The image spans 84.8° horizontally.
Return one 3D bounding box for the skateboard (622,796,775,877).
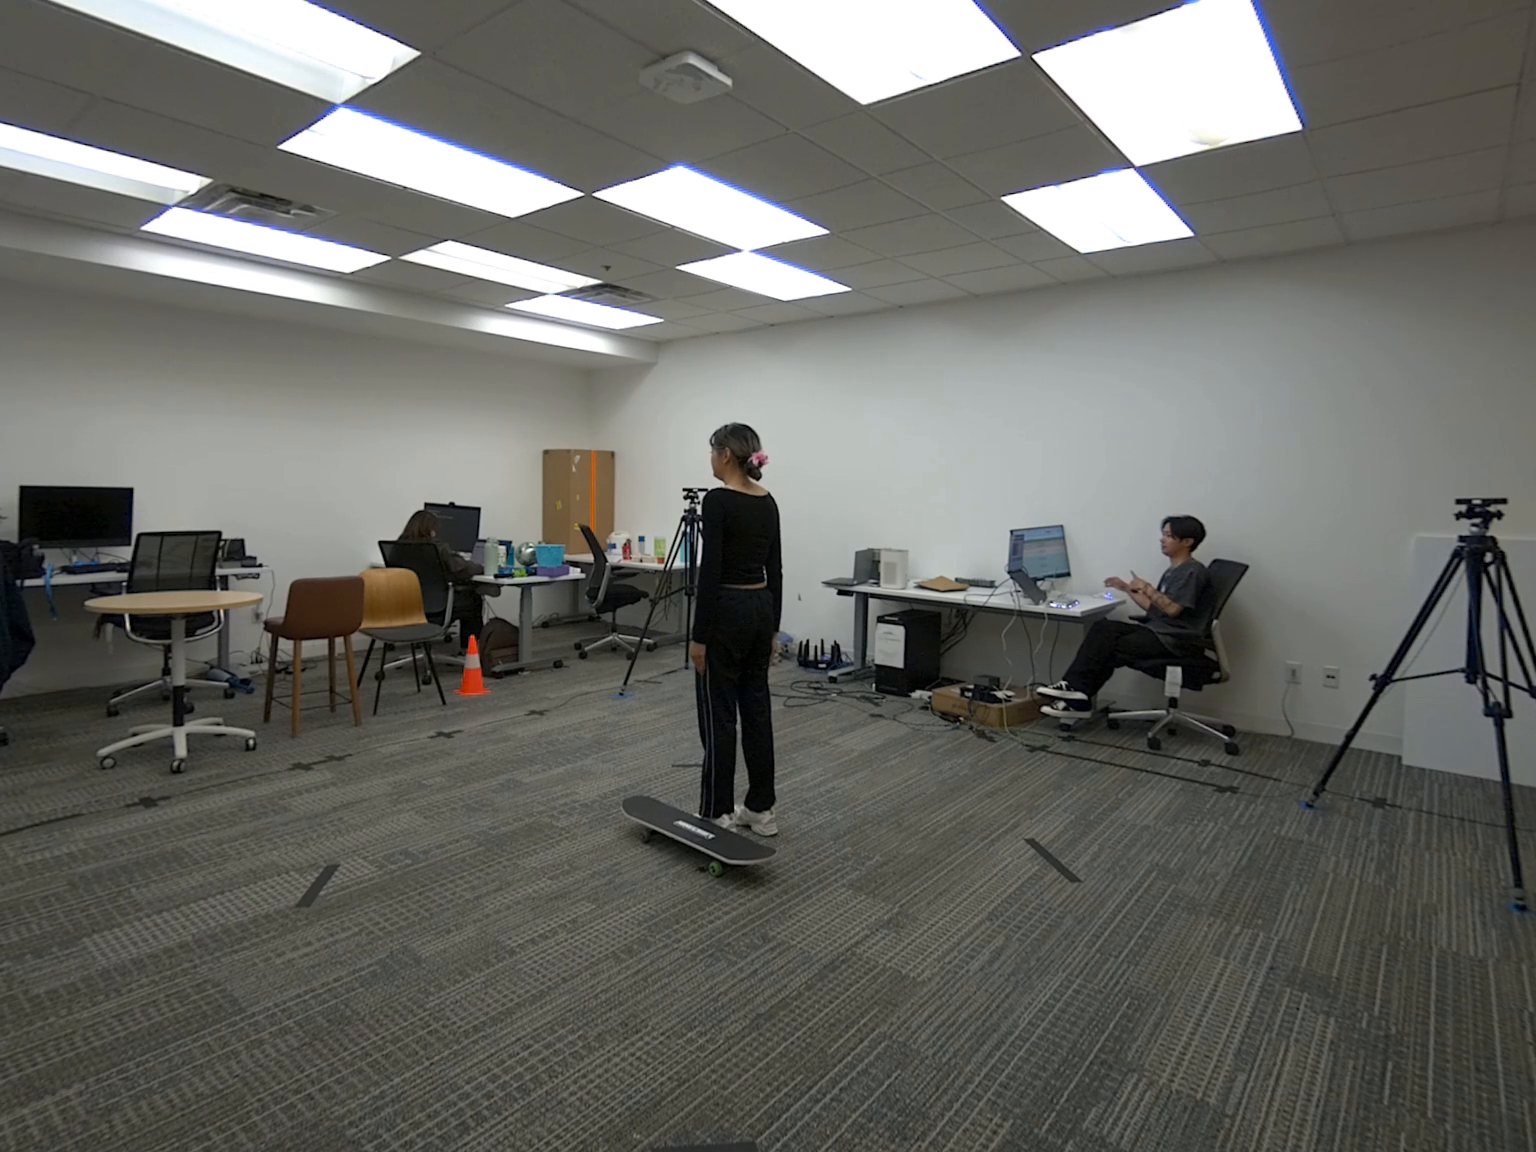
[{"bbox_3d":[-0.302,0.996,3.248,0.813,0.110,0.188,7,8,44],"label":"skateboard"}]
